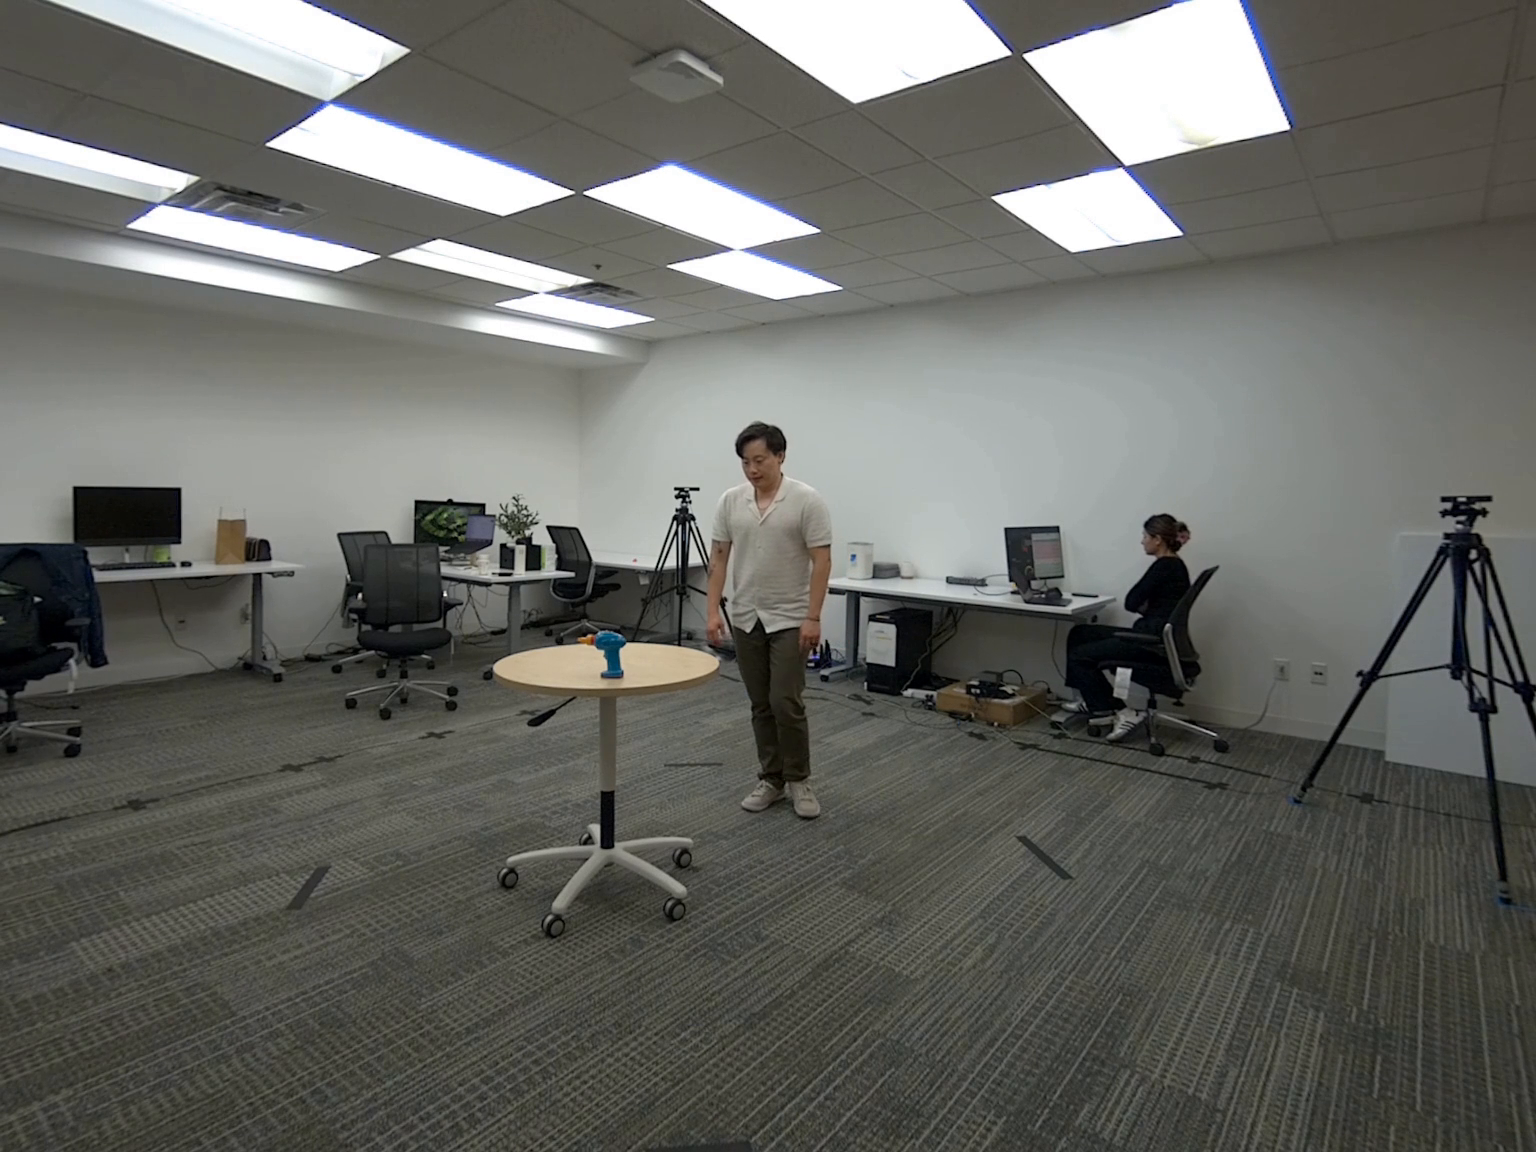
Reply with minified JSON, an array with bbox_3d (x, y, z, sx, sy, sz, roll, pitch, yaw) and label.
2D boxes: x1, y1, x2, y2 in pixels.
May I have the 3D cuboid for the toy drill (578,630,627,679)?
[{"bbox_3d":[-0.539,0.246,2.699,0.172,0.146,0.060,1,1,11],"label":"toy drill"}]
